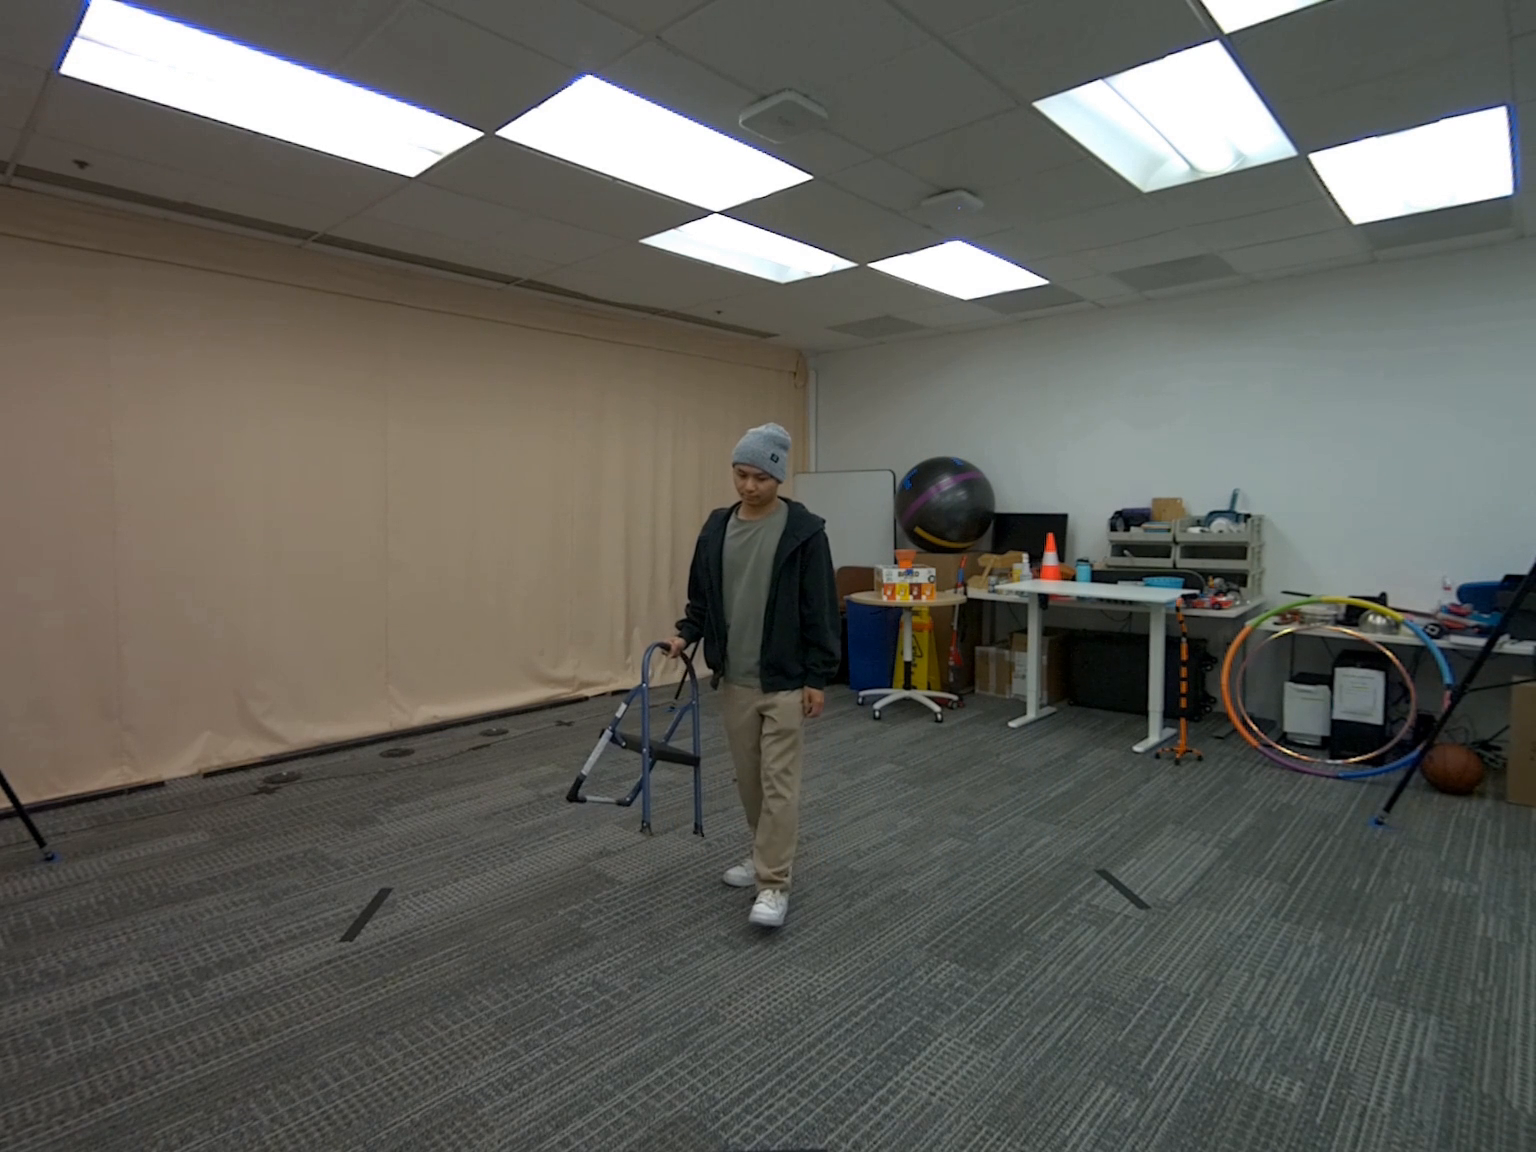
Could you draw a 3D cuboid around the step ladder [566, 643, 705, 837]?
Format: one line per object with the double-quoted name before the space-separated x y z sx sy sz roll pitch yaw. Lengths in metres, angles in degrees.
"step ladder" -0.369 0.563 2.965 0.359 0.608 0.417 11 -12 25
